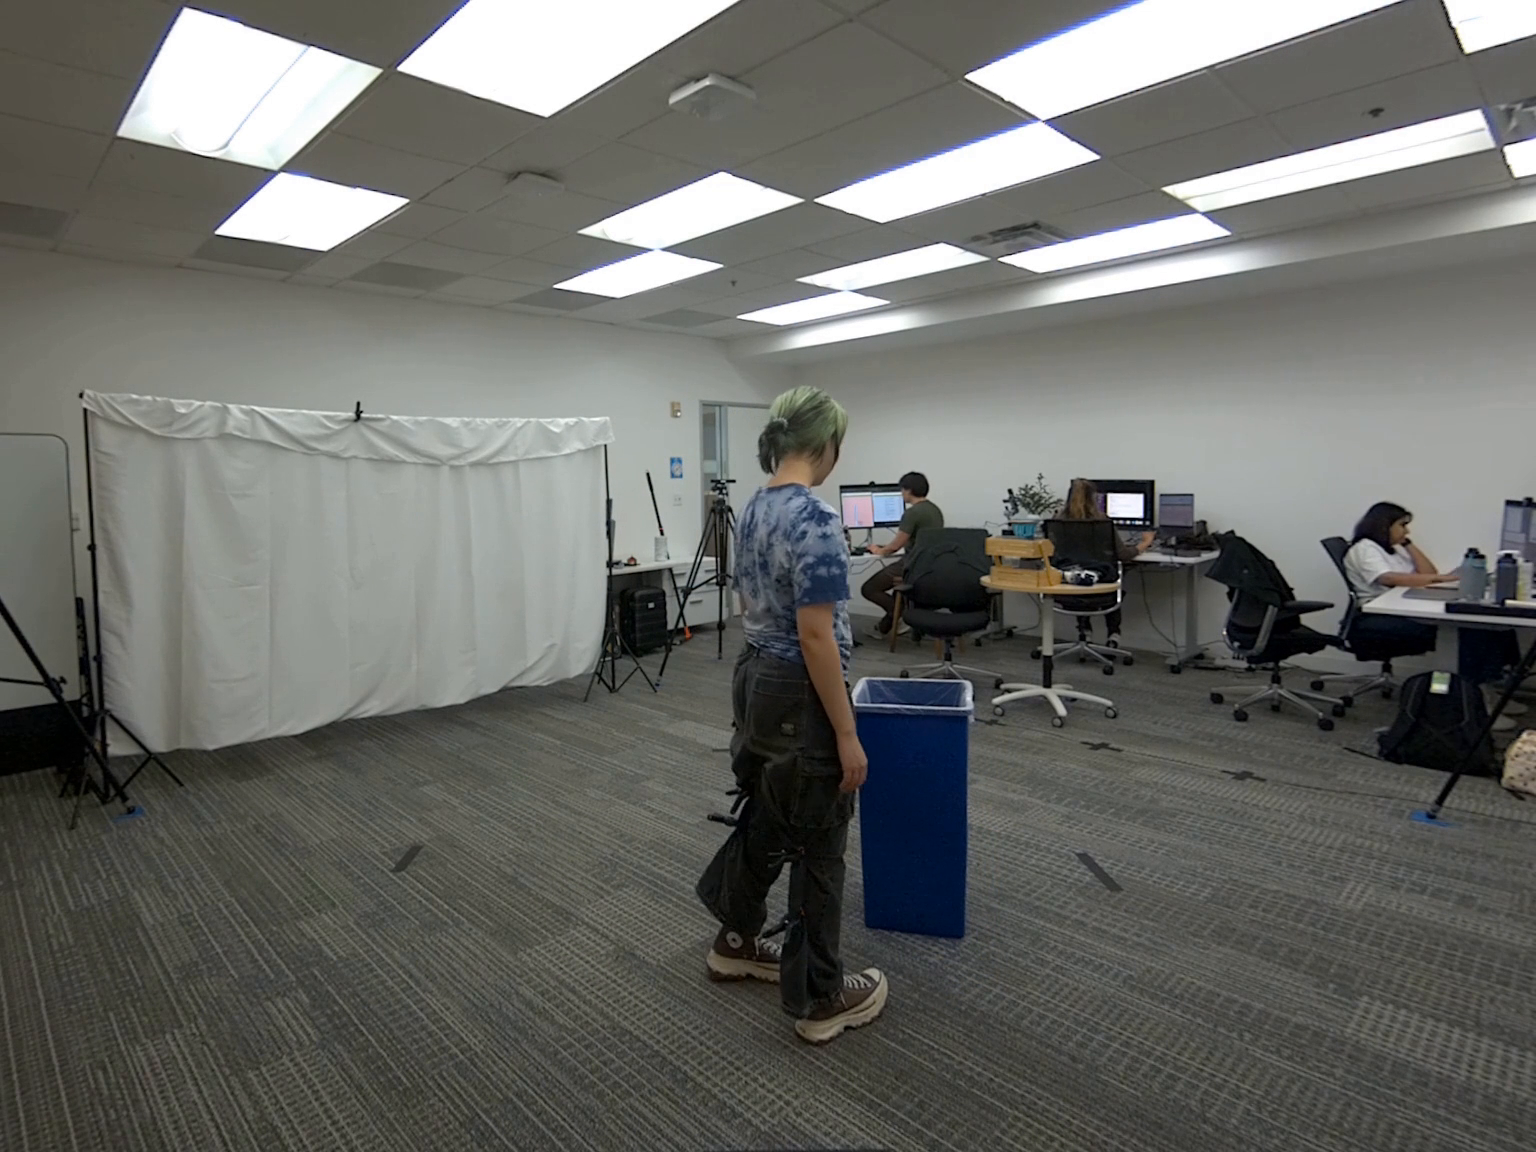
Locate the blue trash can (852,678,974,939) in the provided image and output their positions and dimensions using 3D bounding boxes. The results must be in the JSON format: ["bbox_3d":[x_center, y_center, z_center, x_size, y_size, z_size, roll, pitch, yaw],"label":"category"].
[{"bbox_3d":[0.470,0.723,2.733,0.379,0.711,0.374,0,4,14],"label":"blue trash can"}]
